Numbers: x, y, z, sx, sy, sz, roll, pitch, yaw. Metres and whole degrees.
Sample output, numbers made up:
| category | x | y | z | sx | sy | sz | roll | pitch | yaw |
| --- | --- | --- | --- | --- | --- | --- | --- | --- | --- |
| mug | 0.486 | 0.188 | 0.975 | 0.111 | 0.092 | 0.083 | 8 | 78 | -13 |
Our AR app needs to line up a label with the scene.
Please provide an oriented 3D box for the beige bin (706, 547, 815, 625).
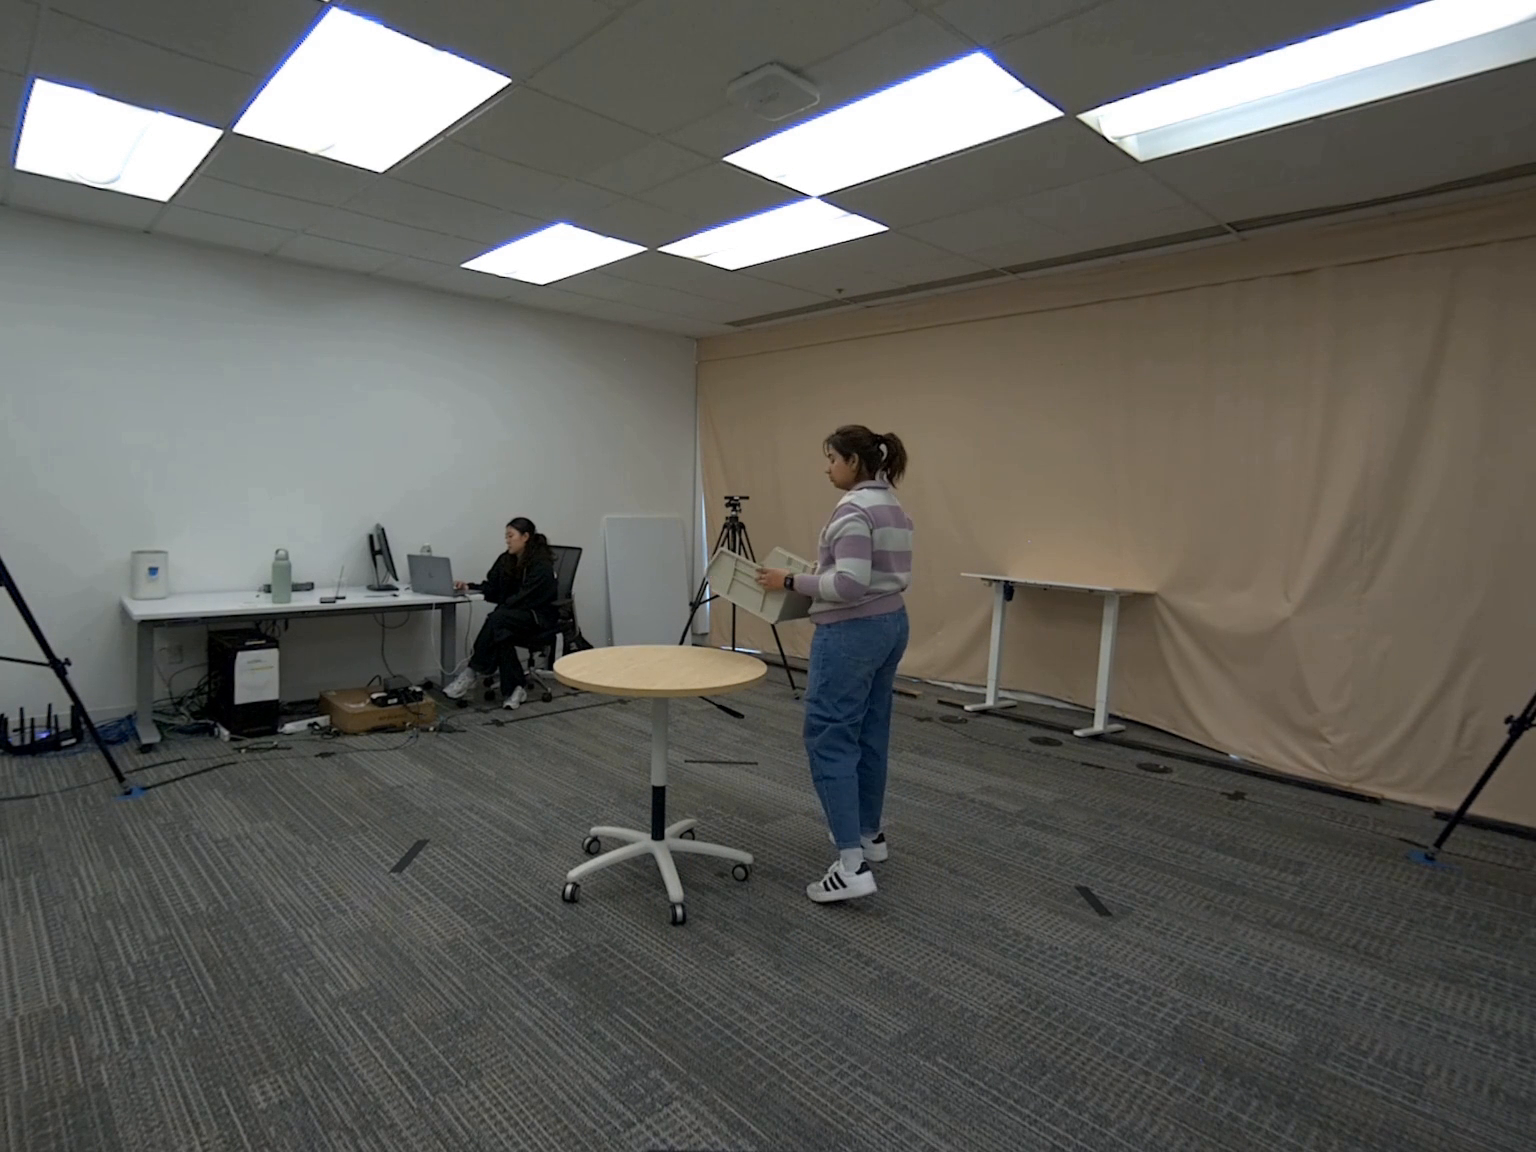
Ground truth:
| category | x | y | z | sx | sy | sz | roll | pitch | yaw |
| --- | --- | --- | --- | --- | --- | --- | --- | --- | --- |
| beige bin | 0.016 | 0.029 | 3.373 | 0.388 | 0.188 | 0.413 | 28 | 15 | 29 |
